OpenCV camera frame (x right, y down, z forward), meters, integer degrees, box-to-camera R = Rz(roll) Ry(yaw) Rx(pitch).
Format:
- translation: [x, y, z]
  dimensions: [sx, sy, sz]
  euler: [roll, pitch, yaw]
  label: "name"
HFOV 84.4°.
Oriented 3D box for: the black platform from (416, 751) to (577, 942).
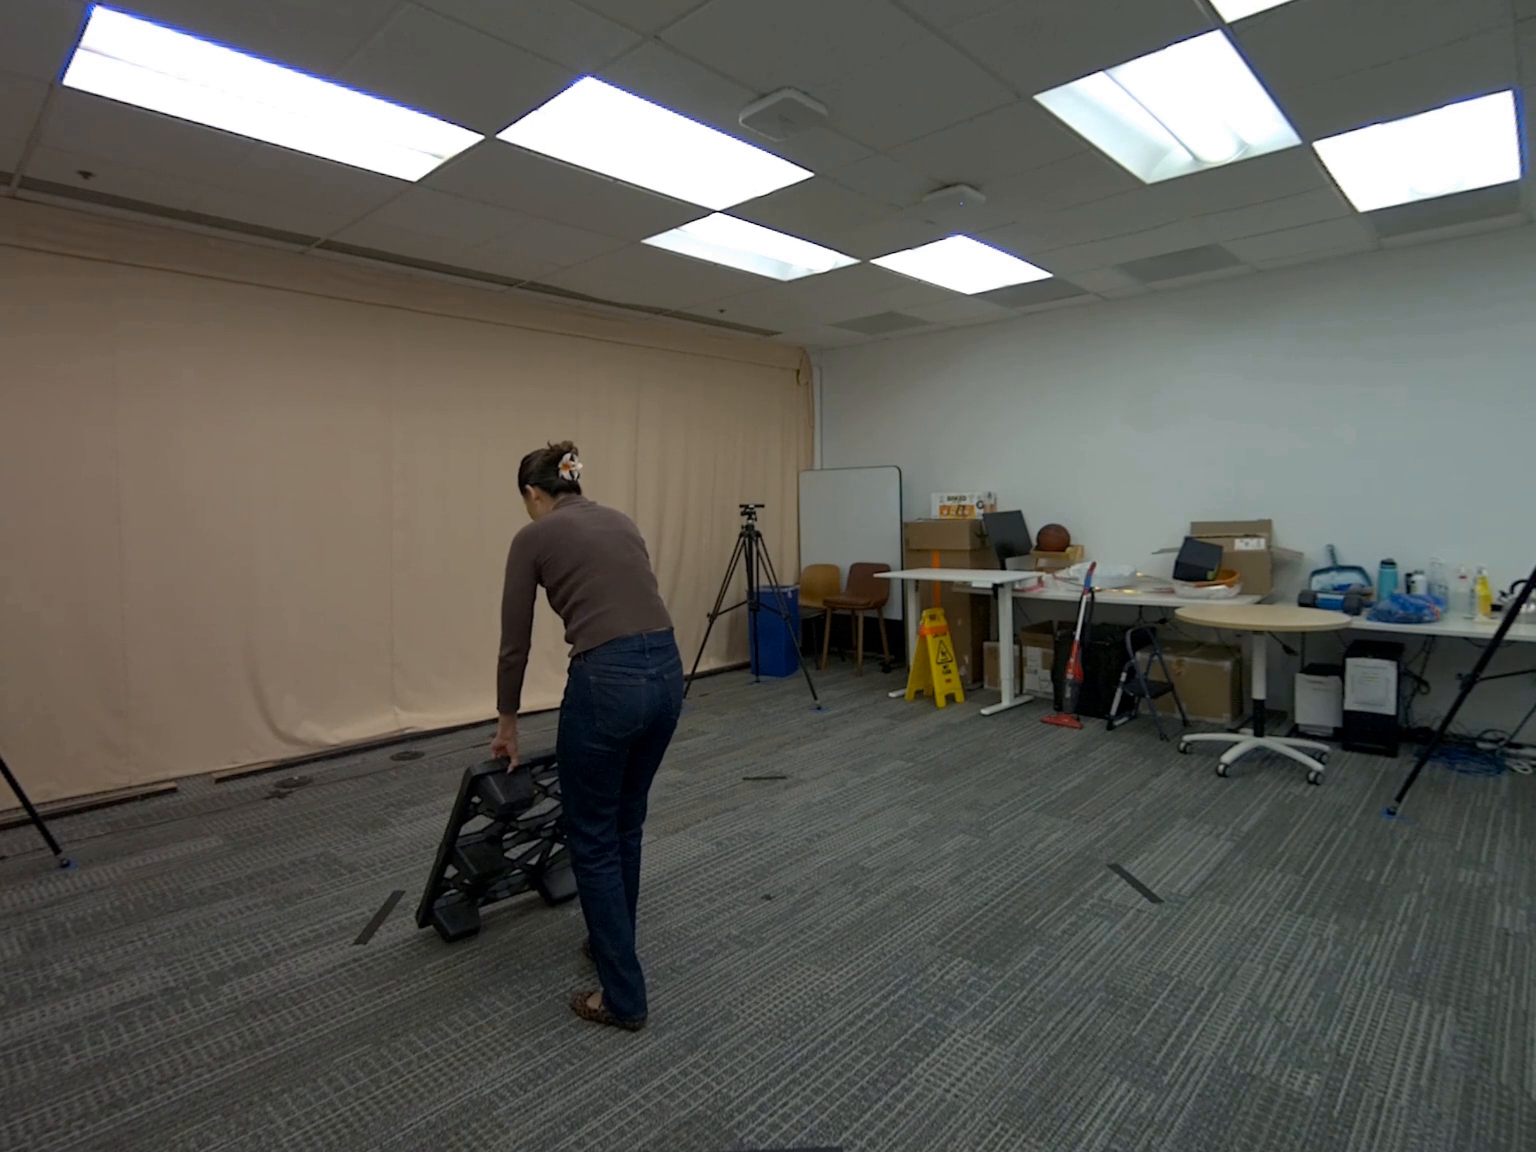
- translation: [-0.755, 0.849, 2.703]
  dimensions: [0.587, 0.803, 0.148]
  euler: [-6, 44, -42]
  label: "black platform"
